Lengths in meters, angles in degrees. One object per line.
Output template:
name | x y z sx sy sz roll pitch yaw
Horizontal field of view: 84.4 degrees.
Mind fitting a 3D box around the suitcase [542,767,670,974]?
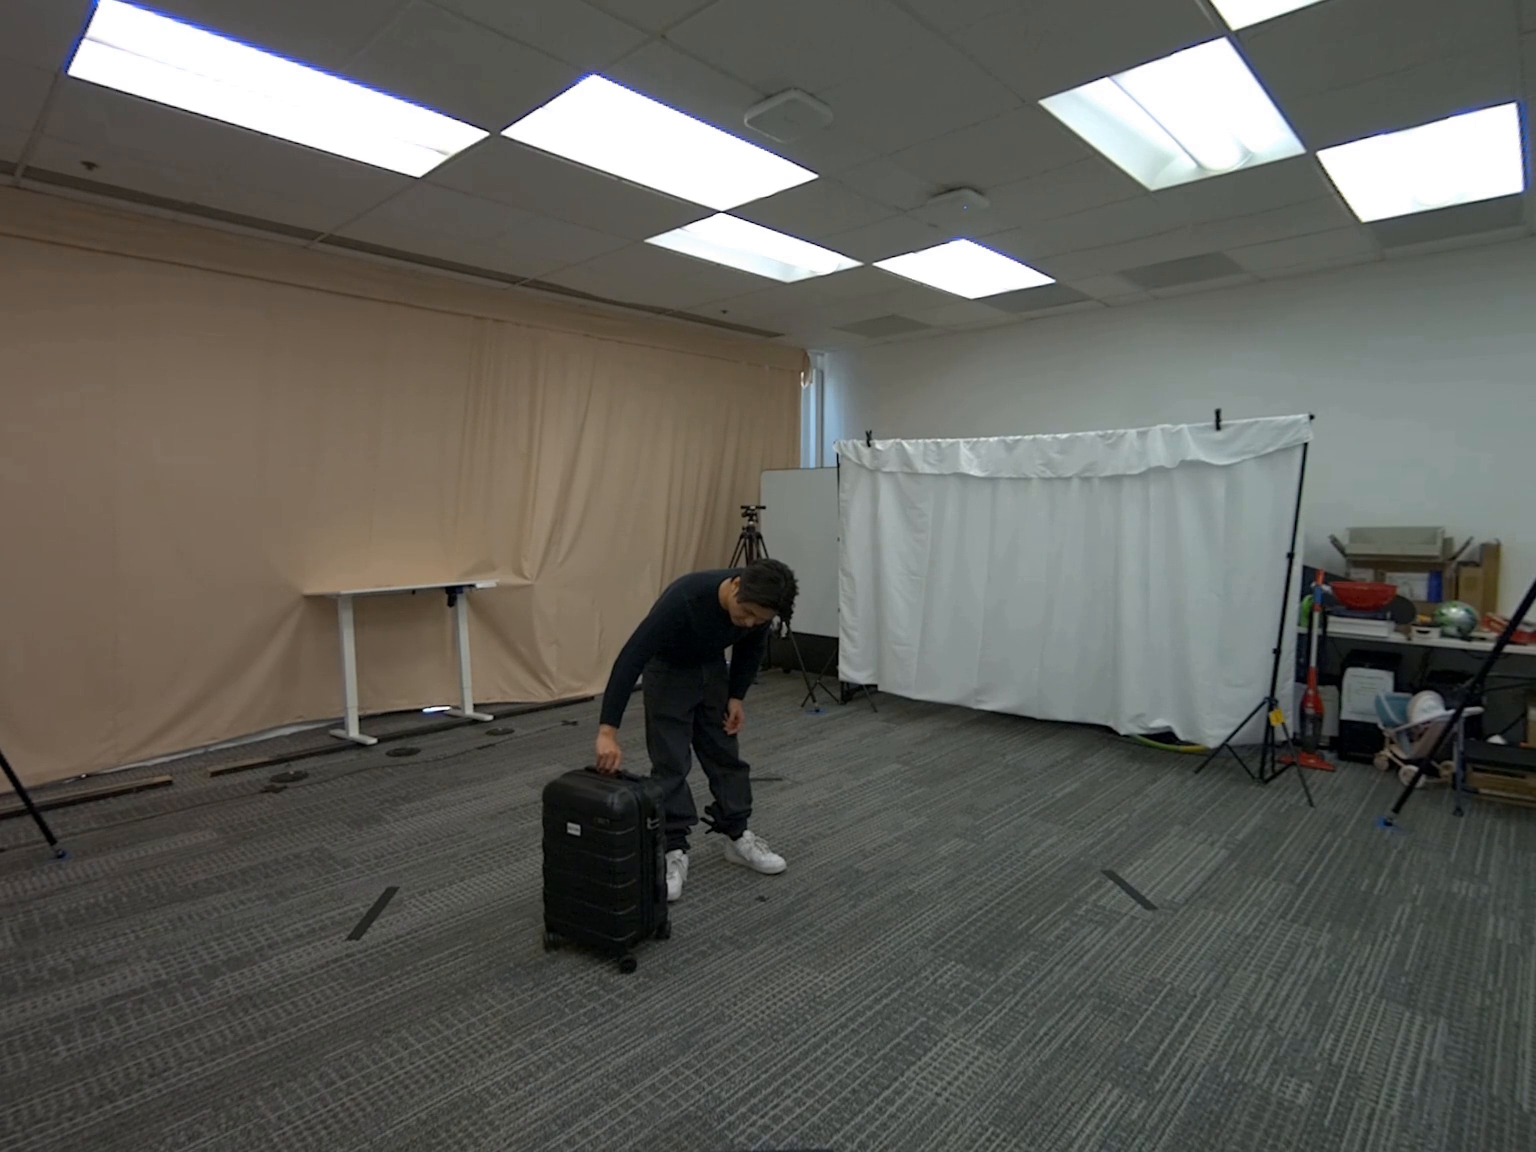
suitcase | -0.520 0.895 2.668 0.386 0.548 0.242 2 5 31
